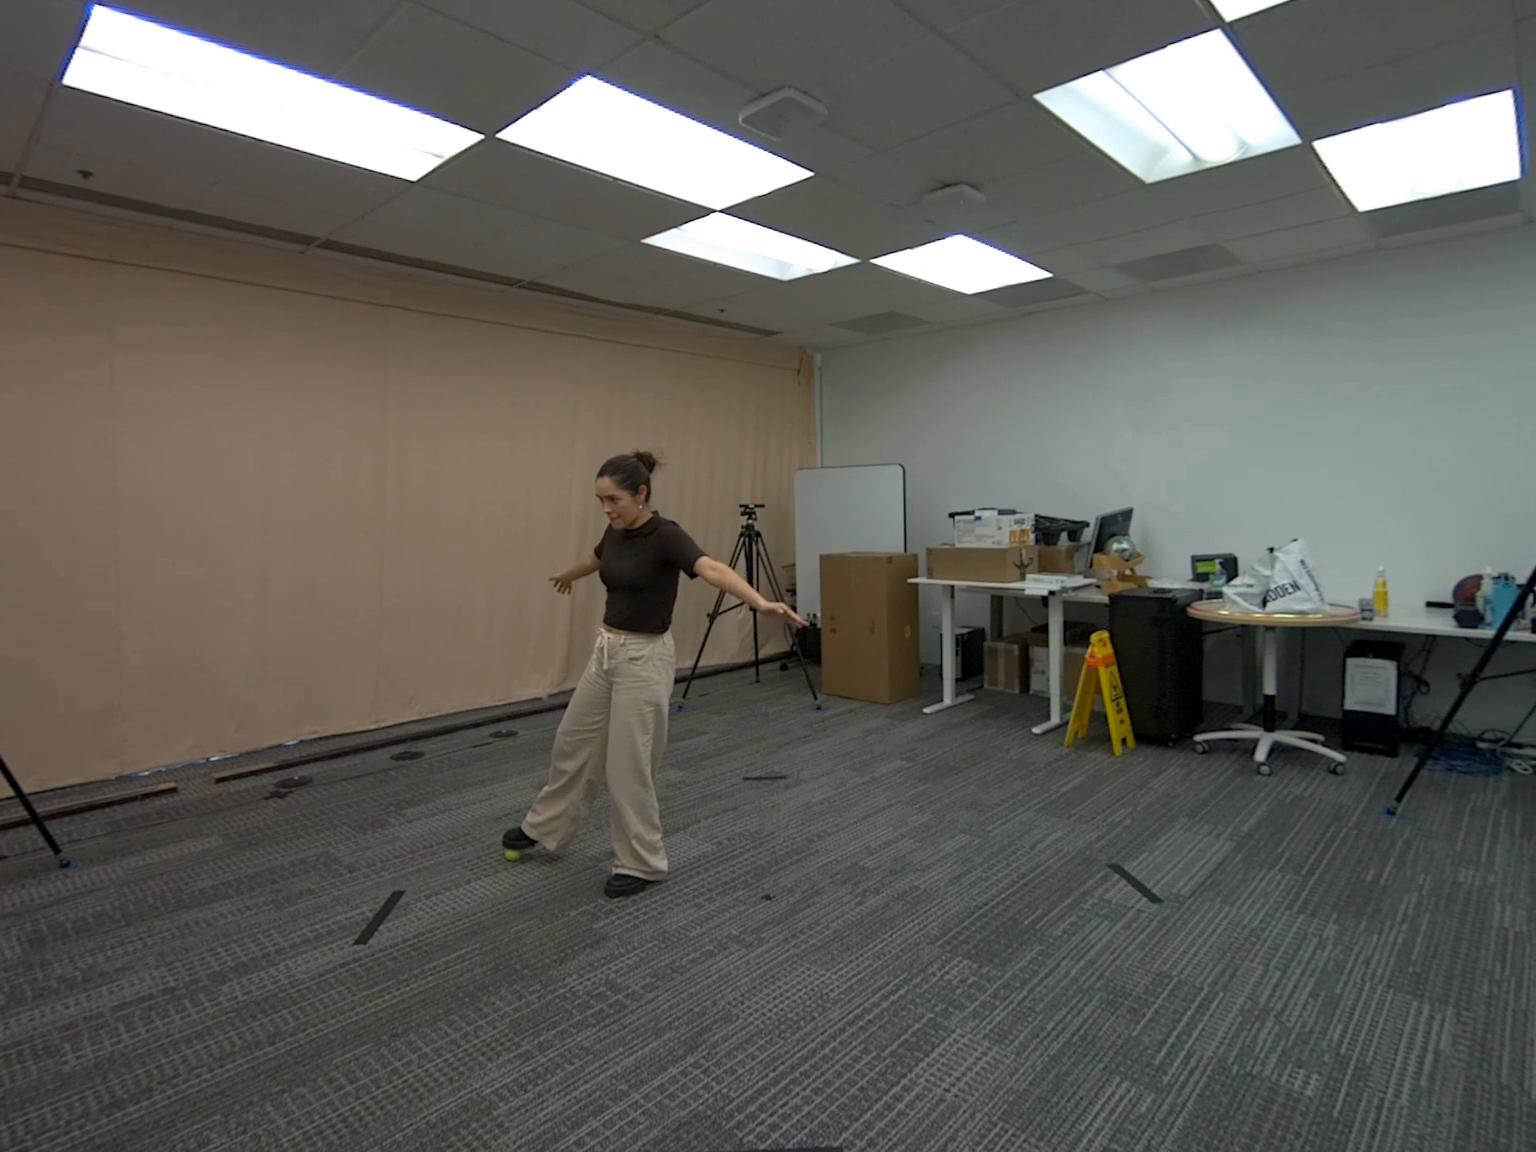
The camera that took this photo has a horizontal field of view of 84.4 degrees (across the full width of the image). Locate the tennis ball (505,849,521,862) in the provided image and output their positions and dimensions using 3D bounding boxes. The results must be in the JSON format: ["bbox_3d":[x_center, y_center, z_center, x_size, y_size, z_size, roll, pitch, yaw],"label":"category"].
[{"bbox_3d":[-1.011,1.098,3.361,0.066,0.066,0.067,-1,4,-2],"label":"tennis ball"}]
